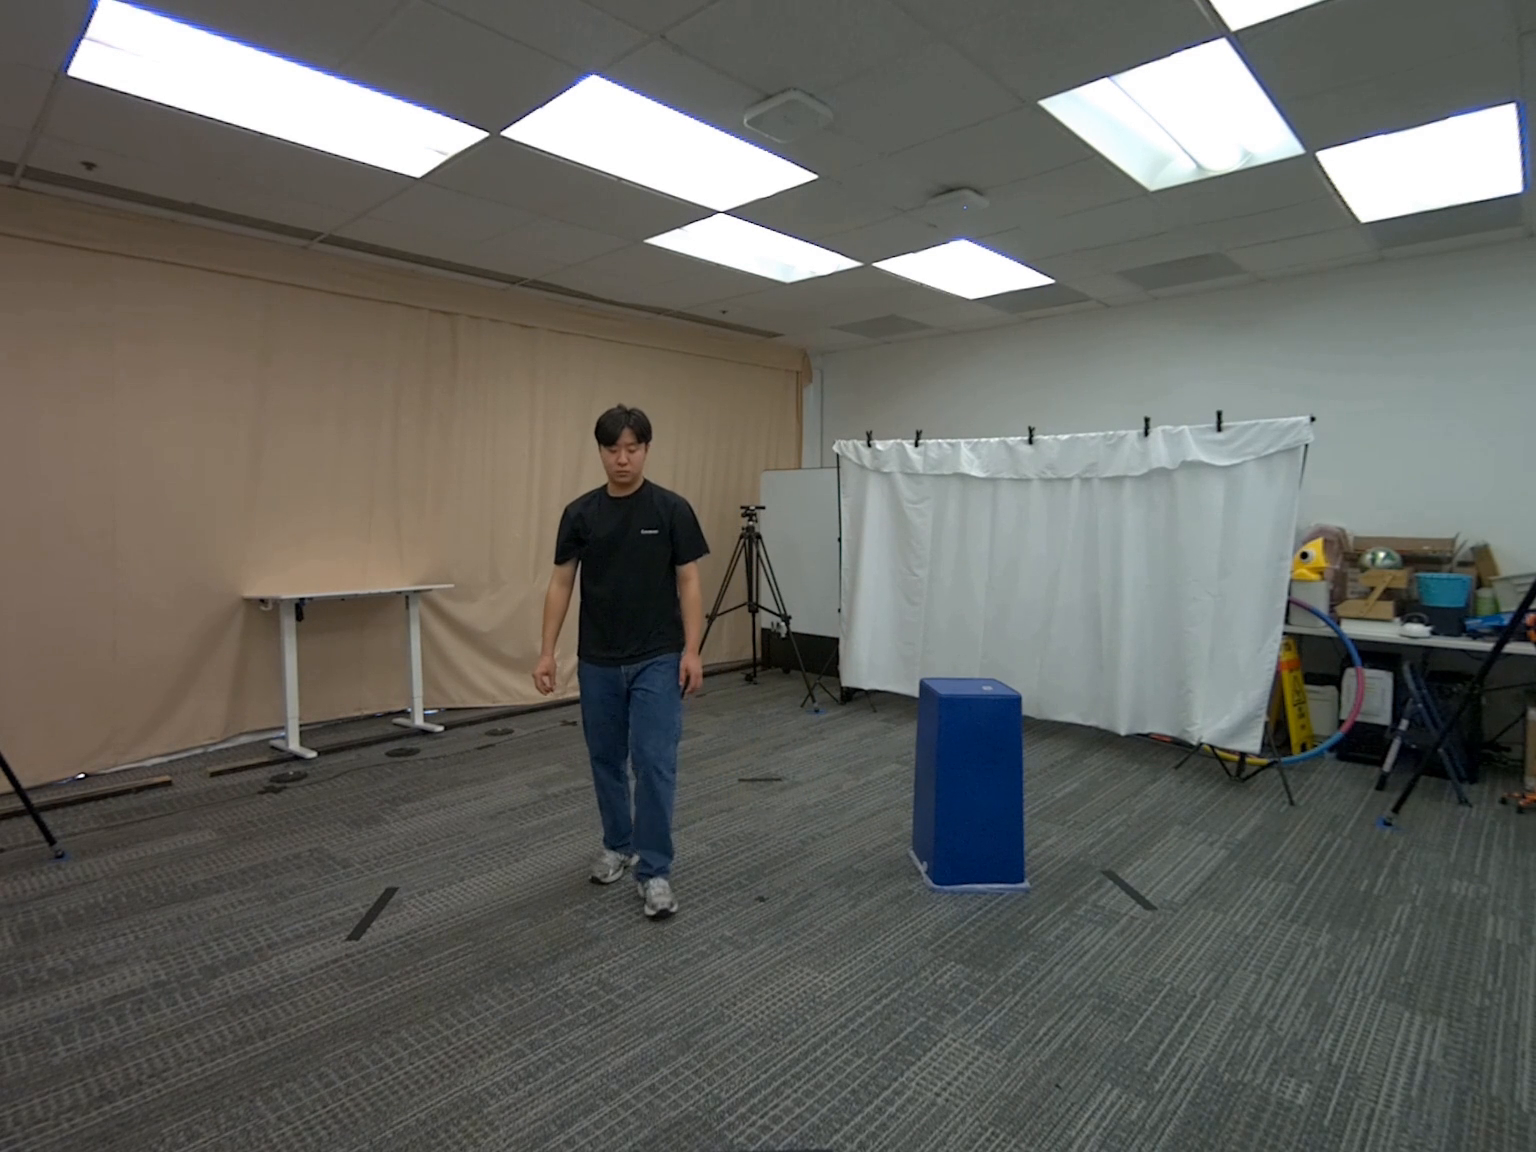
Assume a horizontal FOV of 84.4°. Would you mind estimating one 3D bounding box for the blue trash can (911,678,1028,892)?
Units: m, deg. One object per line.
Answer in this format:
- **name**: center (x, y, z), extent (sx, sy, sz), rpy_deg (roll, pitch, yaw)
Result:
- **blue trash can**: center (0.766, 0.774, 3.183), extent (0.373, 0.712, 0.379), rpy_deg (1, 3, -2)
